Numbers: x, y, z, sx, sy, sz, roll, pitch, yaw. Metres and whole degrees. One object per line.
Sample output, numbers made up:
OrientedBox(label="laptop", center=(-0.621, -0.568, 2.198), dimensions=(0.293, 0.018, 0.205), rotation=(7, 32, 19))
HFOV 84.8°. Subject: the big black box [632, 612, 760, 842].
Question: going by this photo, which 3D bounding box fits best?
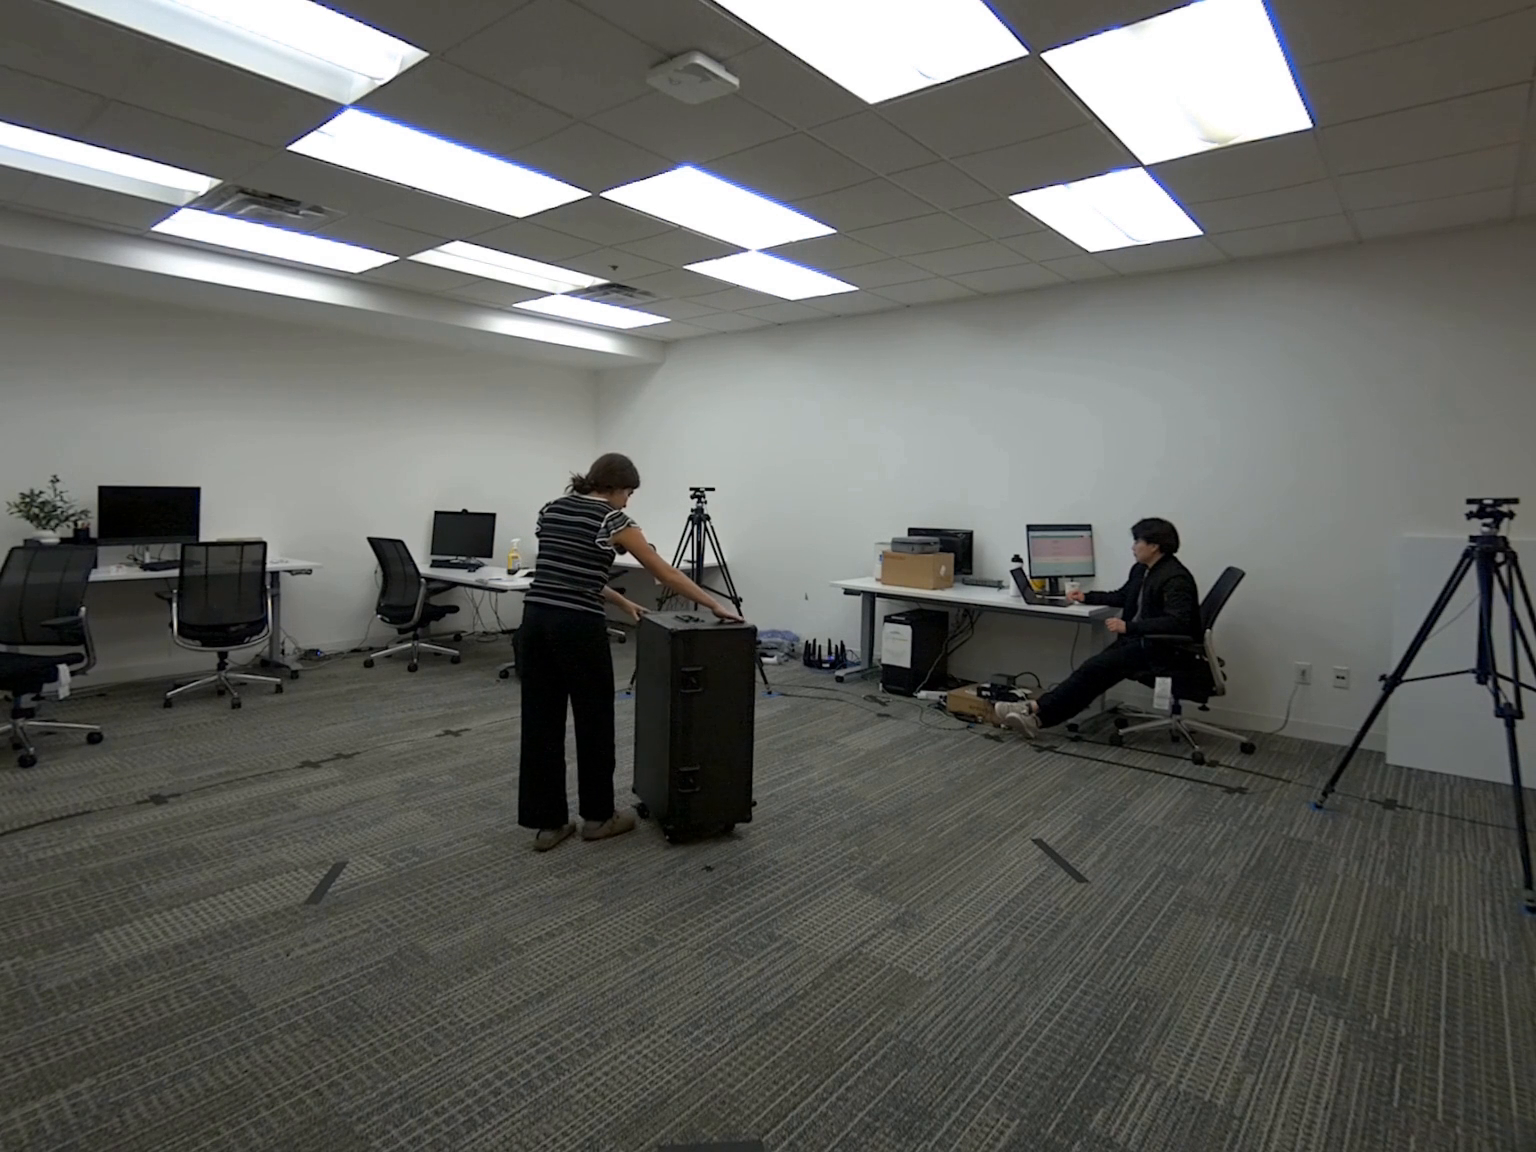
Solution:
OrientedBox(label="big black box", center=(-0.322, 0.600, 3.518), dimensions=(0.388, 0.859, 0.534), rotation=(0, 3, -23))
